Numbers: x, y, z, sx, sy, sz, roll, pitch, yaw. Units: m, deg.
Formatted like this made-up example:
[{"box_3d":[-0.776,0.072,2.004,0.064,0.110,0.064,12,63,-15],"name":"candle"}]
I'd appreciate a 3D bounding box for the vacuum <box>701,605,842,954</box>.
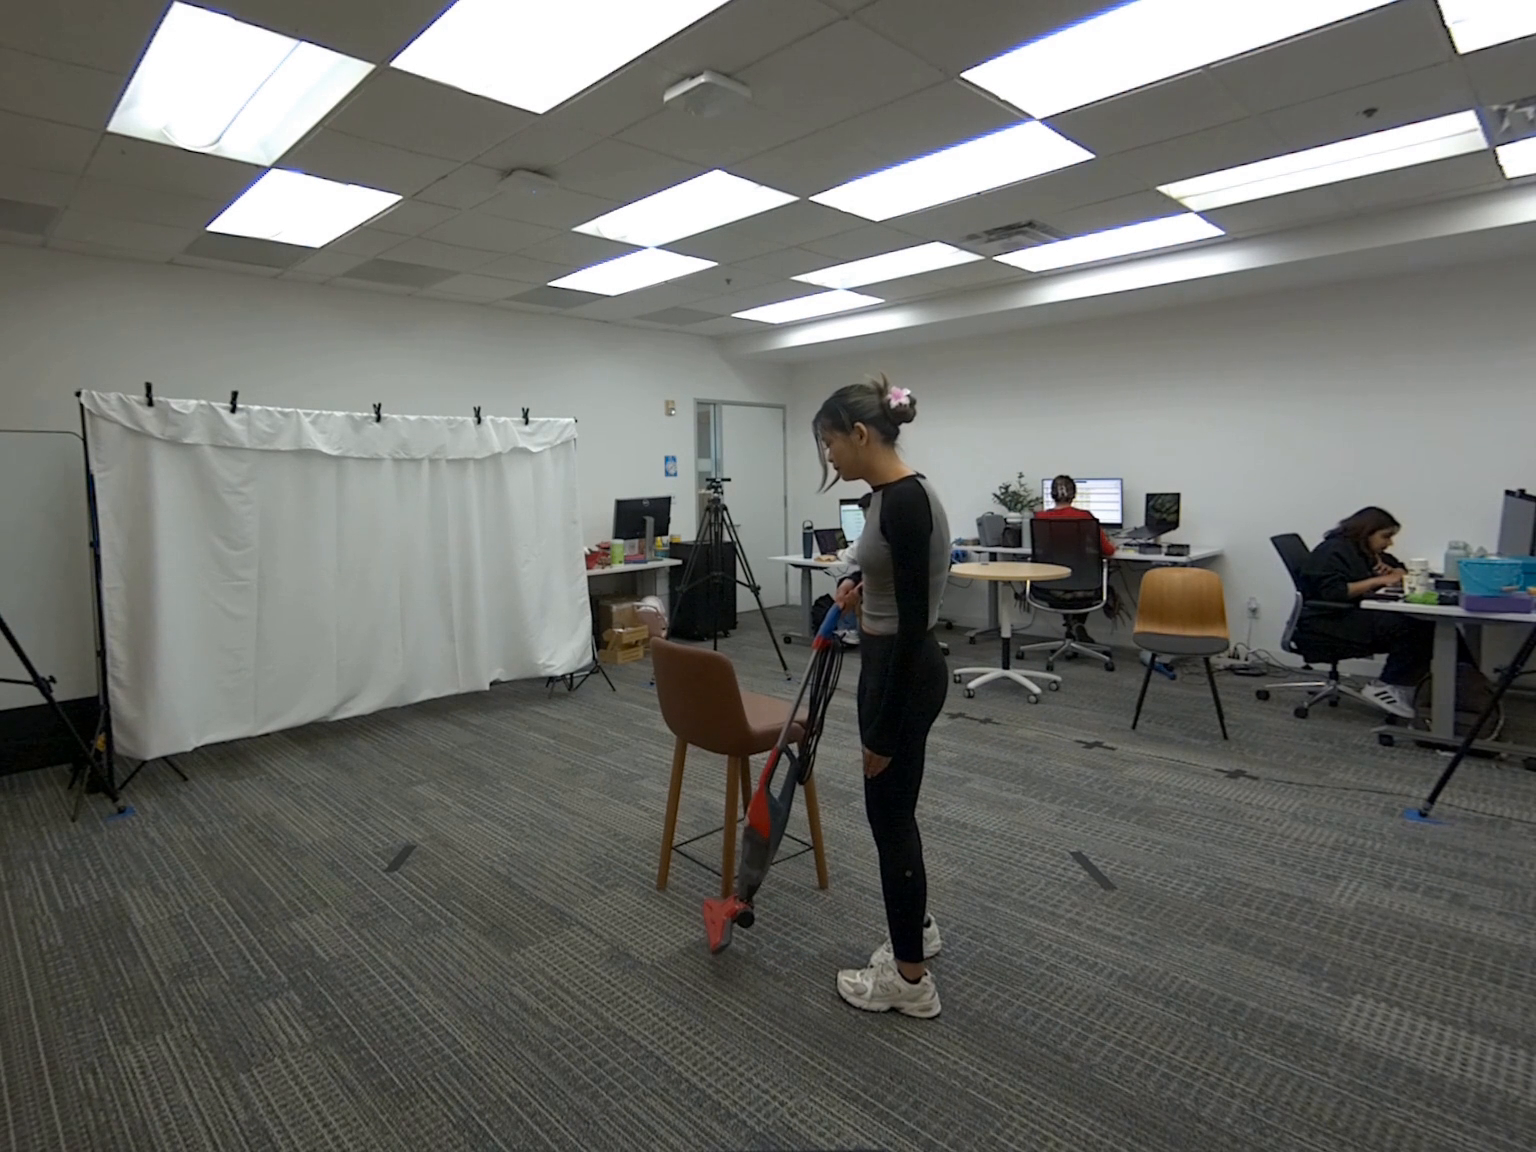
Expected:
[{"box_3d":[0.074,0.513,2.445,0.141,1.048,0.258,20,1,-20],"name":"vacuum"}]
